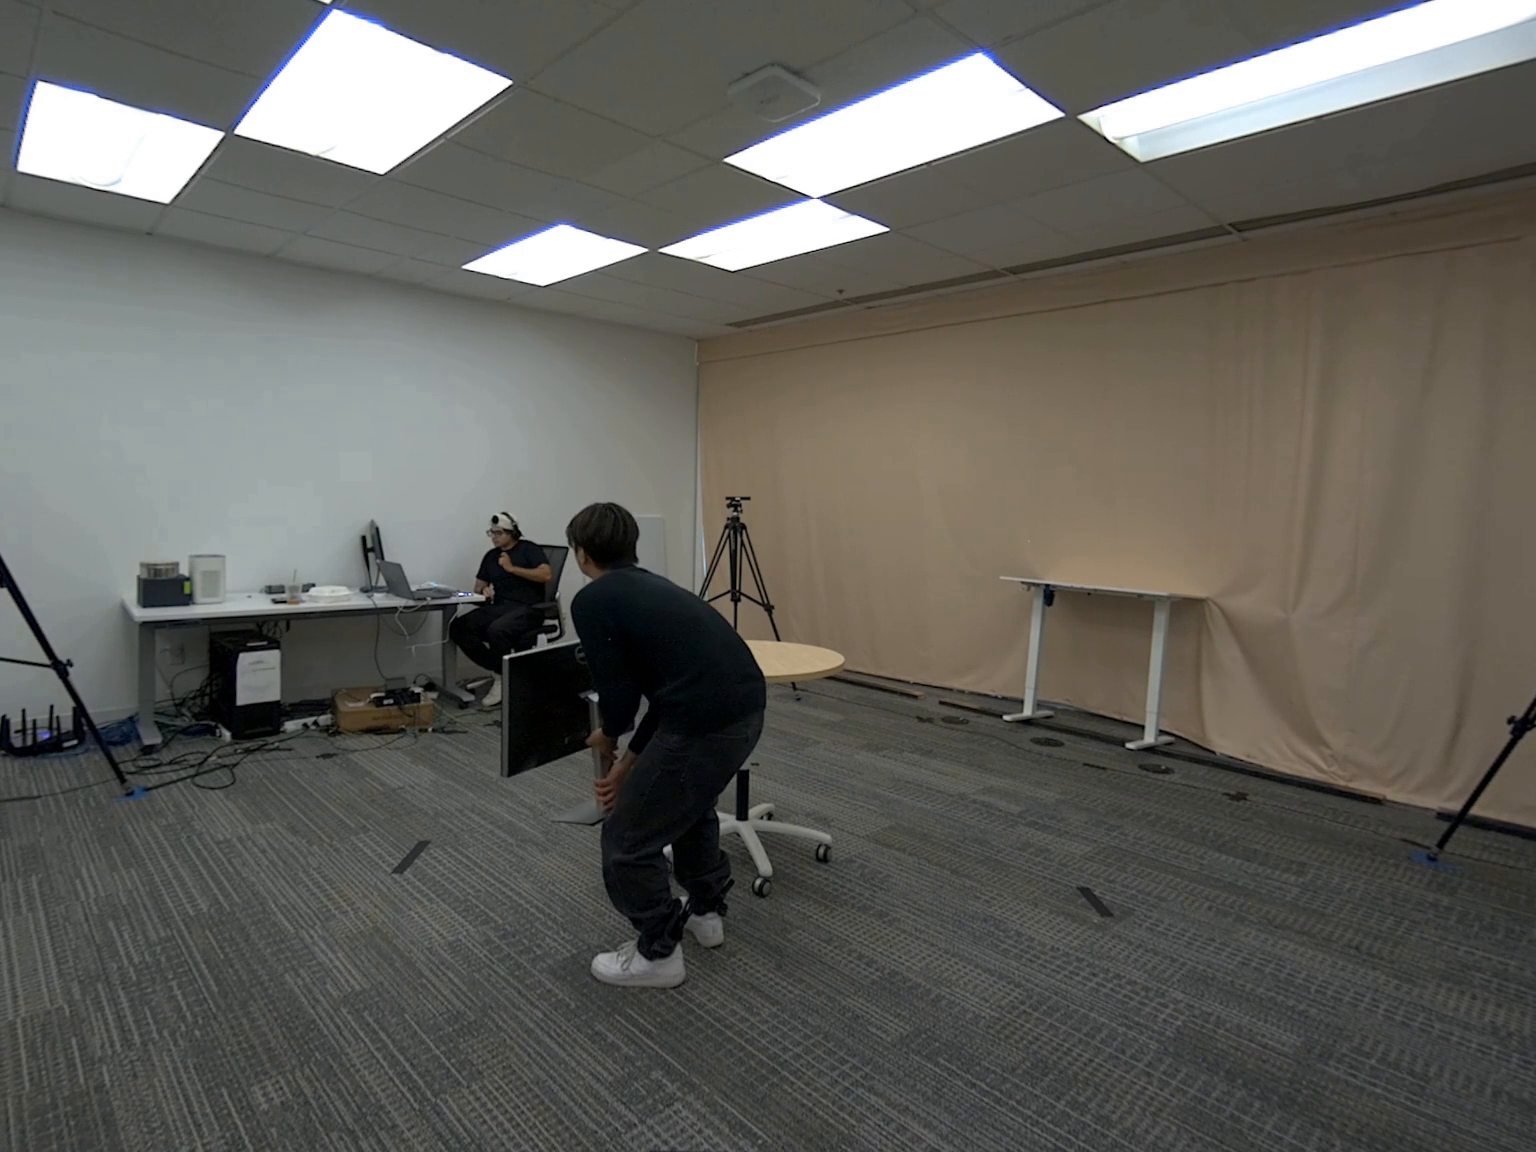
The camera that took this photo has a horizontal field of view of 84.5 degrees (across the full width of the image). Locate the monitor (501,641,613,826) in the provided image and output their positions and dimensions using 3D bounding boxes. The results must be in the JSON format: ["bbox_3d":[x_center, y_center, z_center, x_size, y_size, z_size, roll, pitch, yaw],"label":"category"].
[{"bbox_3d":[-0.570,0.476,2.642,0.191,0.522,0.529,-8,1,34],"label":"monitor"}]
